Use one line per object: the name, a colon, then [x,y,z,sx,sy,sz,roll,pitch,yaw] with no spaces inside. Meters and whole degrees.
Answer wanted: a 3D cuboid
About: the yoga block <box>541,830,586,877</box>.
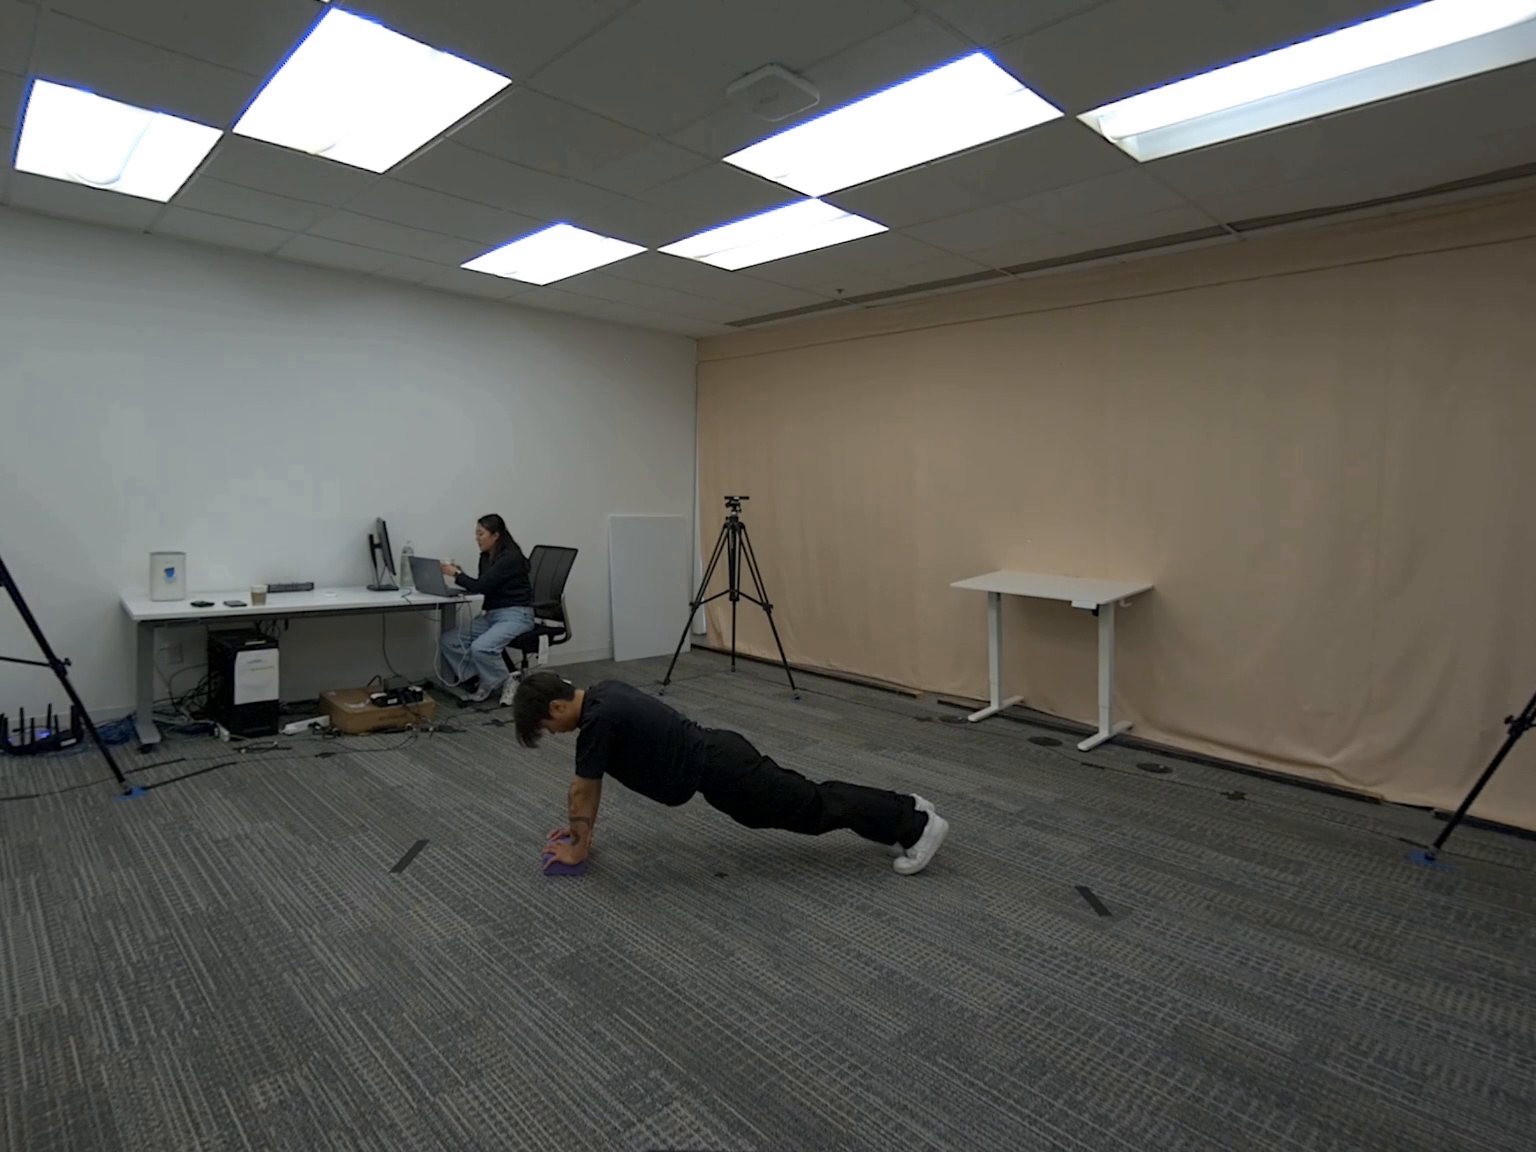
yoga block: [-0.762,1.044,3.178,0.148,0.076,0.231,2,5,-7]
